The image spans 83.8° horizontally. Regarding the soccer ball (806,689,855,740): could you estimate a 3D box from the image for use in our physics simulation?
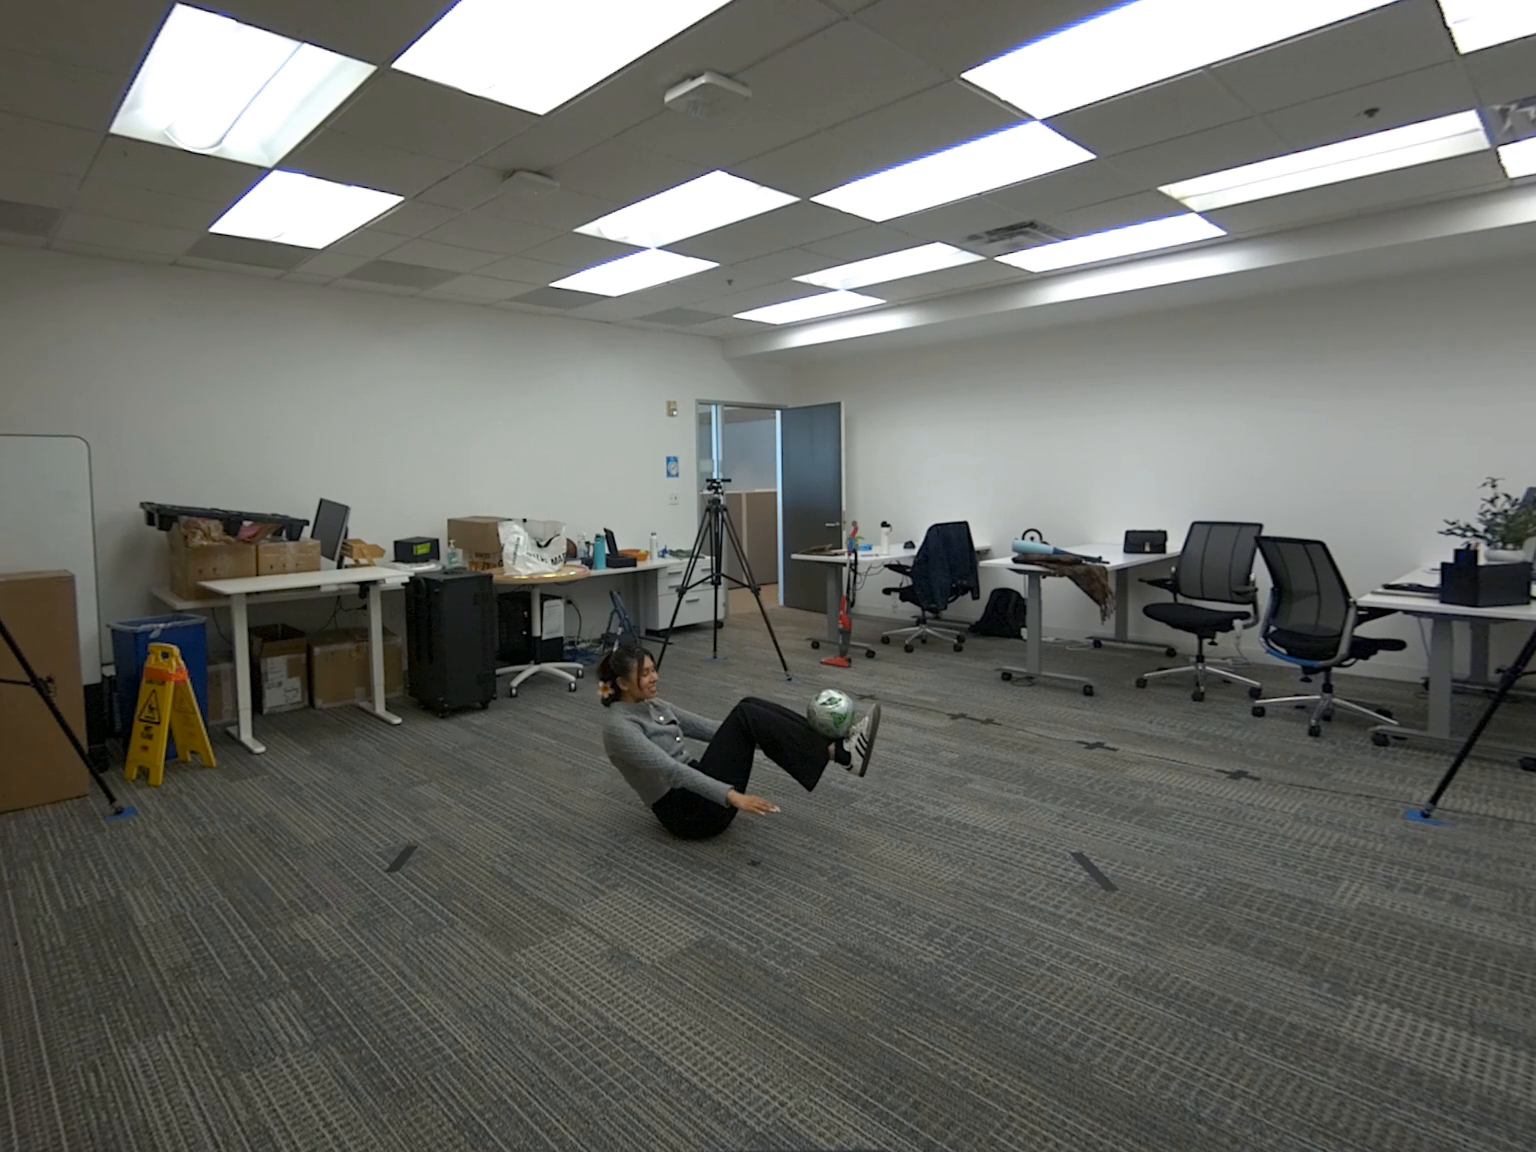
[{"bbox_3d":[0.244,0.528,3.261,0.187,0.187,0.188,-1,5,-2],"label":"soccer ball"}]
